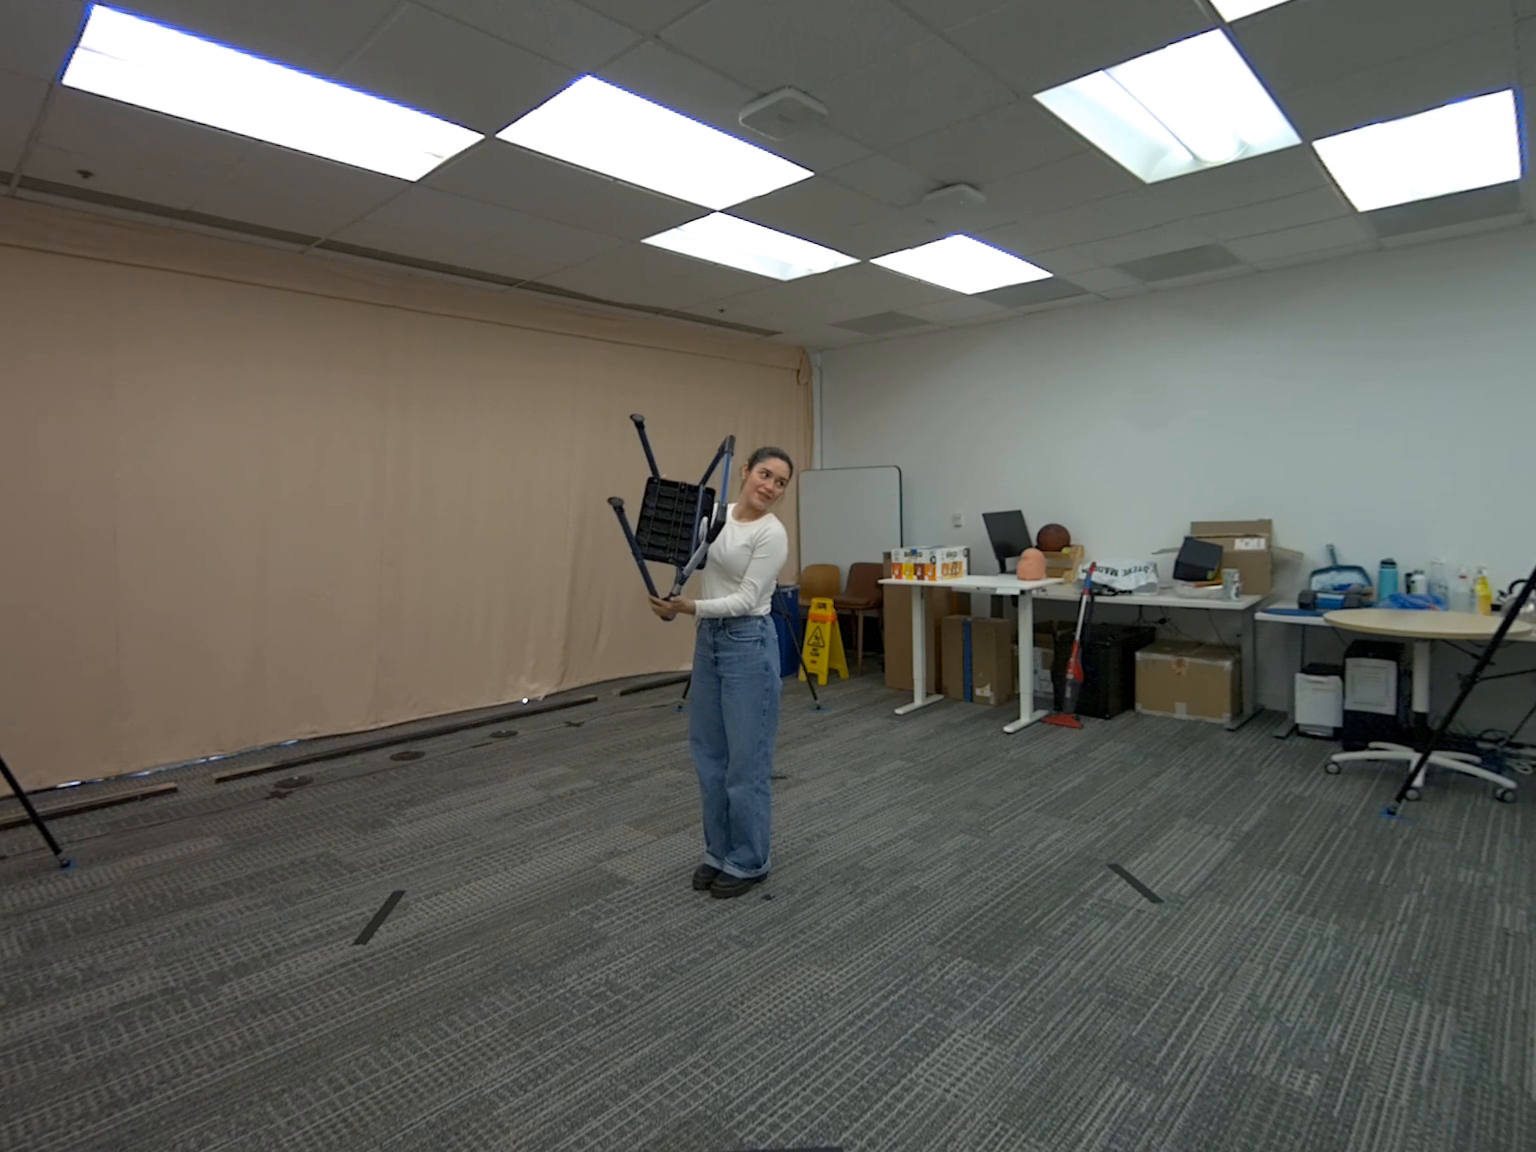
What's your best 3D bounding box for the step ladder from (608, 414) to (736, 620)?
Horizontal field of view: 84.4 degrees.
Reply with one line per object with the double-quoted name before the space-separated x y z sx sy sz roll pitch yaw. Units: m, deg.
"step ladder" -0.345 -0.153 2.819 0.348 0.437 0.600 11 -43 -5
